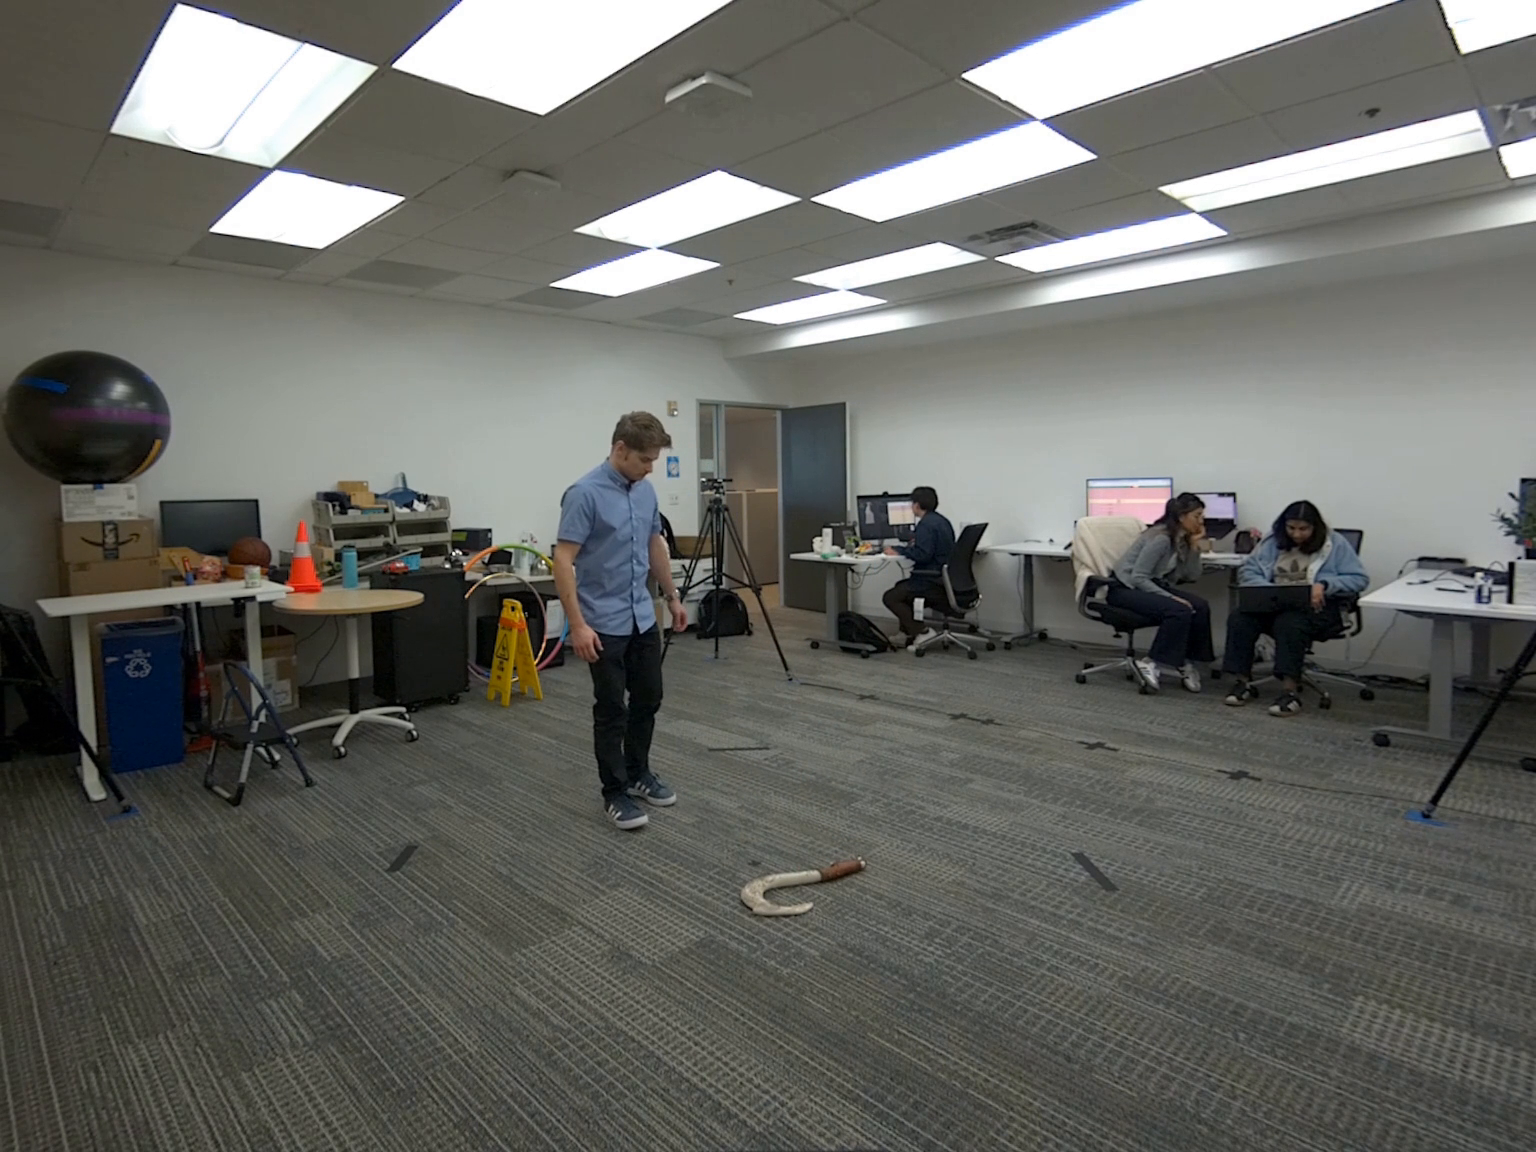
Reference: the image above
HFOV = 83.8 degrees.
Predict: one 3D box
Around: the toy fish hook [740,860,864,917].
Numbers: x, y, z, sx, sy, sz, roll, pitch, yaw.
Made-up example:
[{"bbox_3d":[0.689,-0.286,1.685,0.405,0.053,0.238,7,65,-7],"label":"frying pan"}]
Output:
[{"bbox_3d":[0.158,1.053,2.885,0.495,0.048,0.232,-6,16,-28],"label":"toy fish hook"}]
